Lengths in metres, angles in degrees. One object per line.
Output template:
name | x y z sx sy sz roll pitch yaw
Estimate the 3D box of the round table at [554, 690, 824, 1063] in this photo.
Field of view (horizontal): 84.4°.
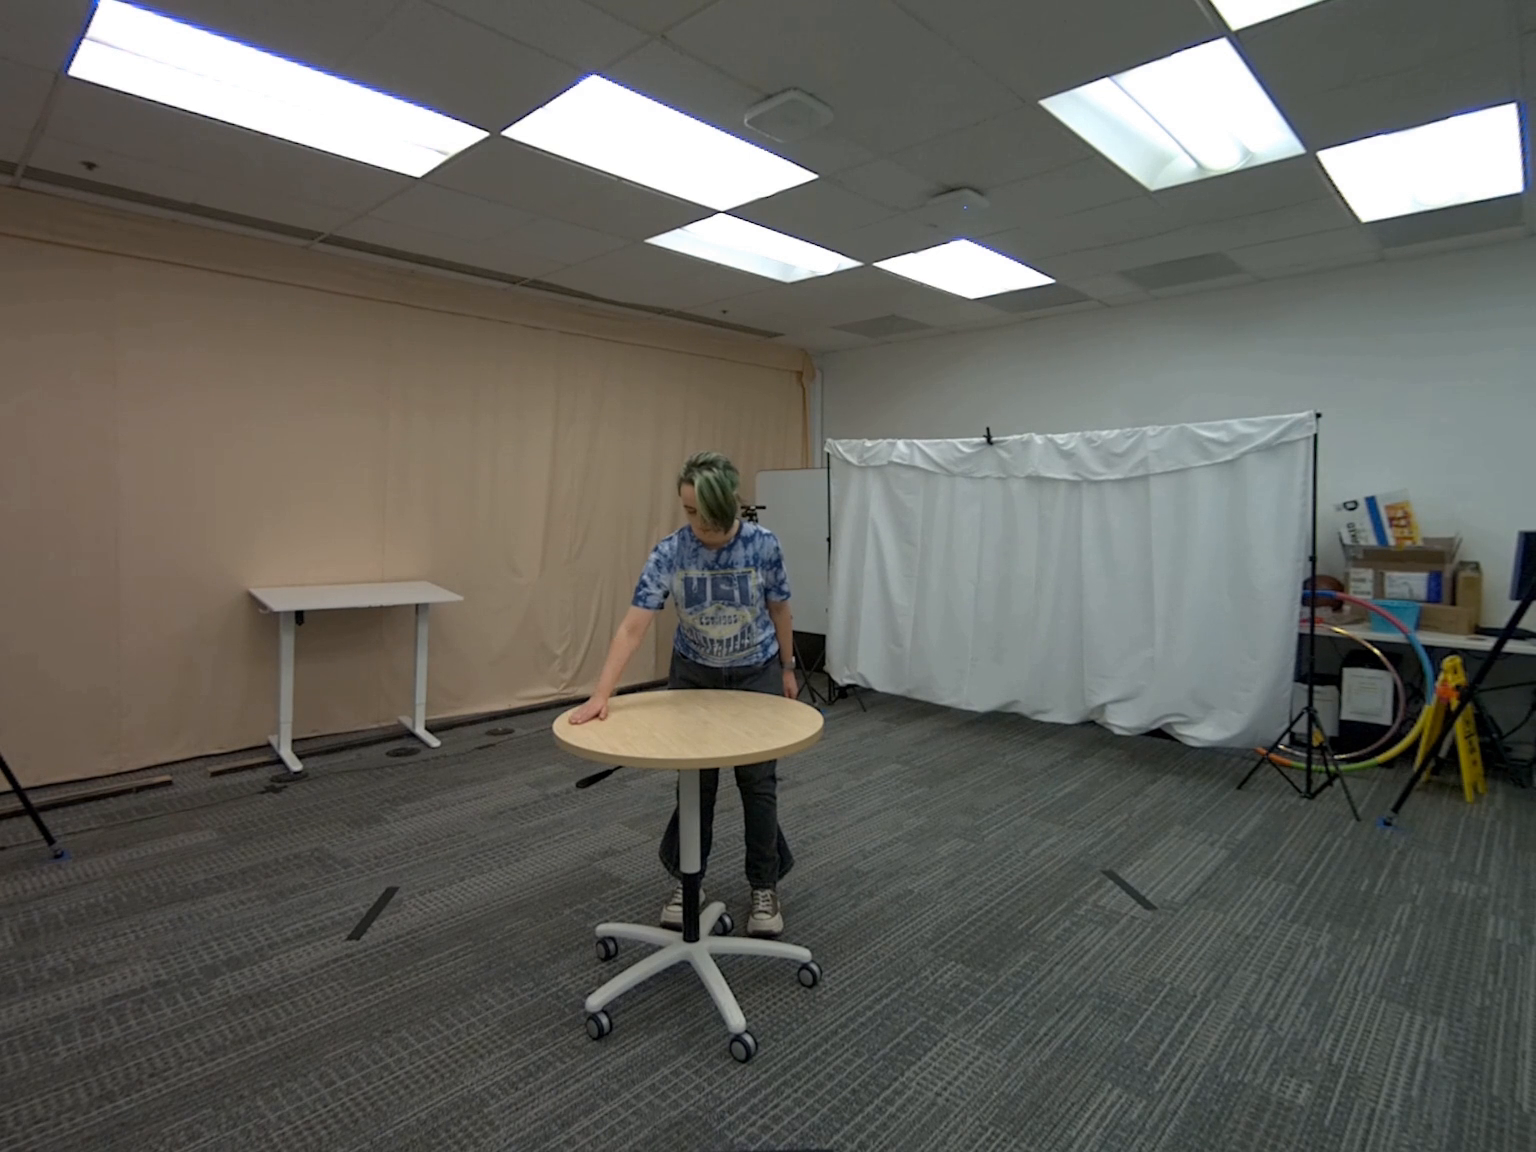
round table | -0.230 0.796 2.433 0.784 0.785 0.788 0 4 -2
